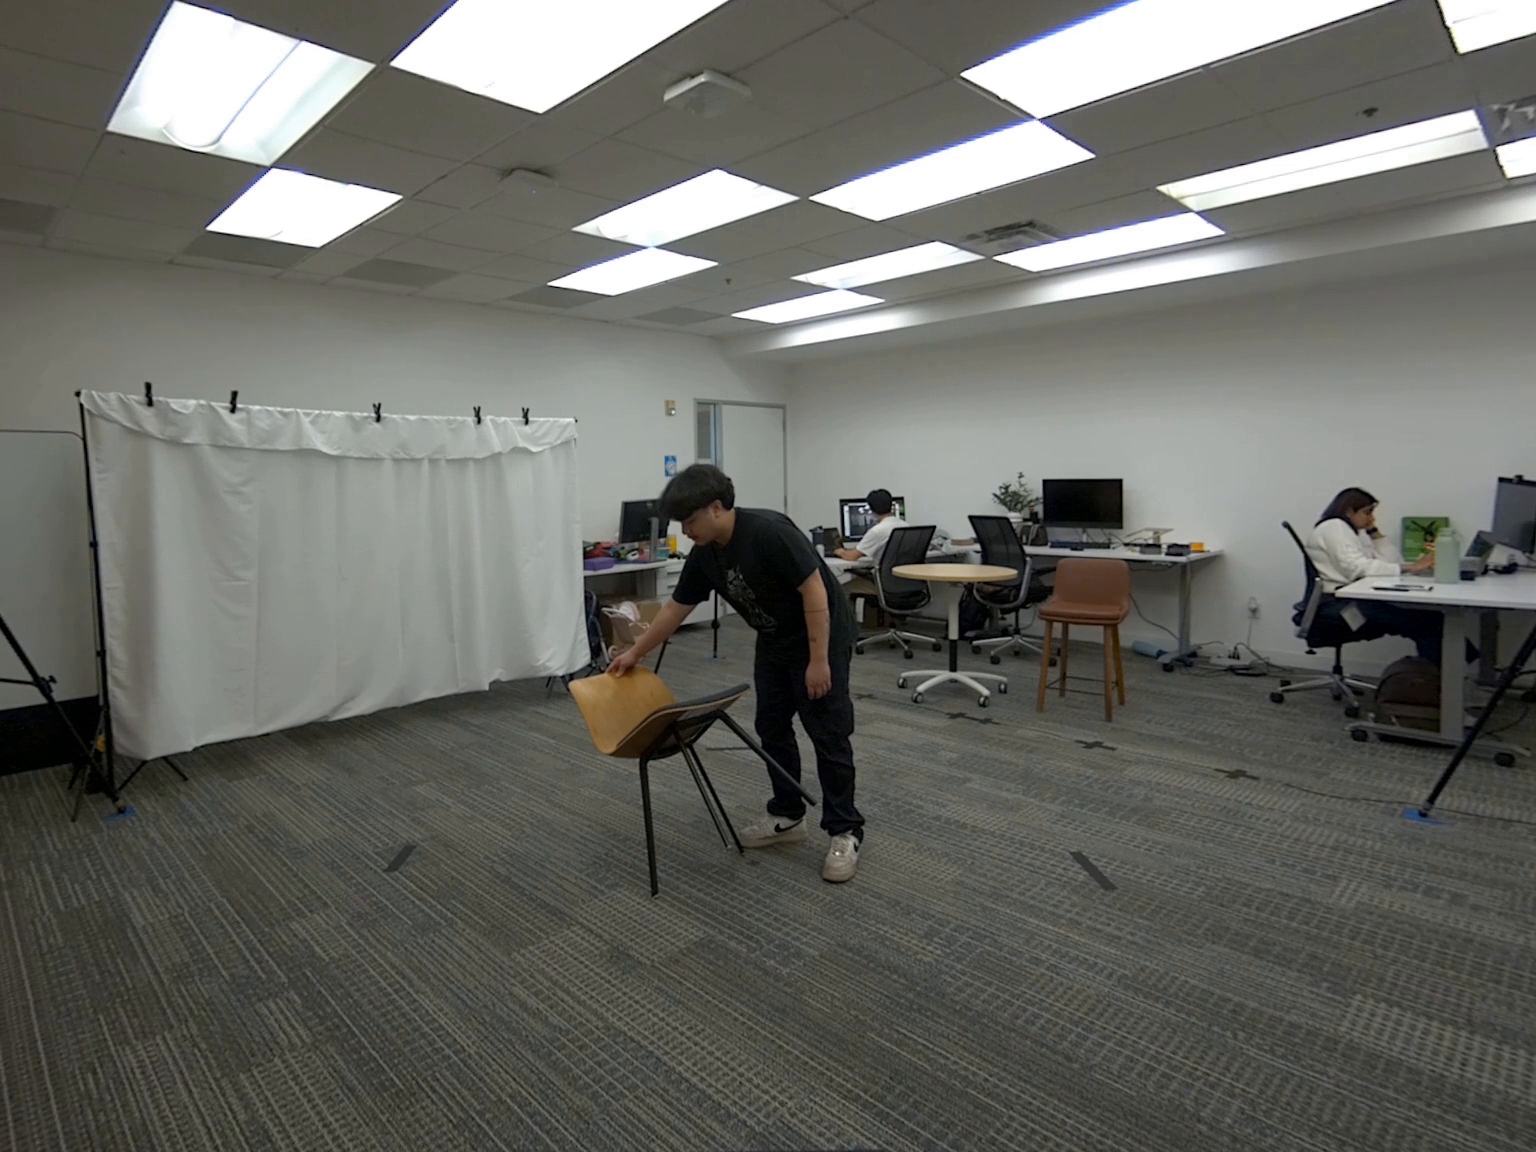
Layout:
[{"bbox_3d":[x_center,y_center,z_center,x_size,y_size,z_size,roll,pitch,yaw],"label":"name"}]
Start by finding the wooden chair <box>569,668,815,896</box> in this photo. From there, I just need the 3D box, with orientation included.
[{"bbox_3d":[-0.300,0.577,3.037,0.465,0.904,0.521,-5,-37,-46],"label":"wooden chair"}]
